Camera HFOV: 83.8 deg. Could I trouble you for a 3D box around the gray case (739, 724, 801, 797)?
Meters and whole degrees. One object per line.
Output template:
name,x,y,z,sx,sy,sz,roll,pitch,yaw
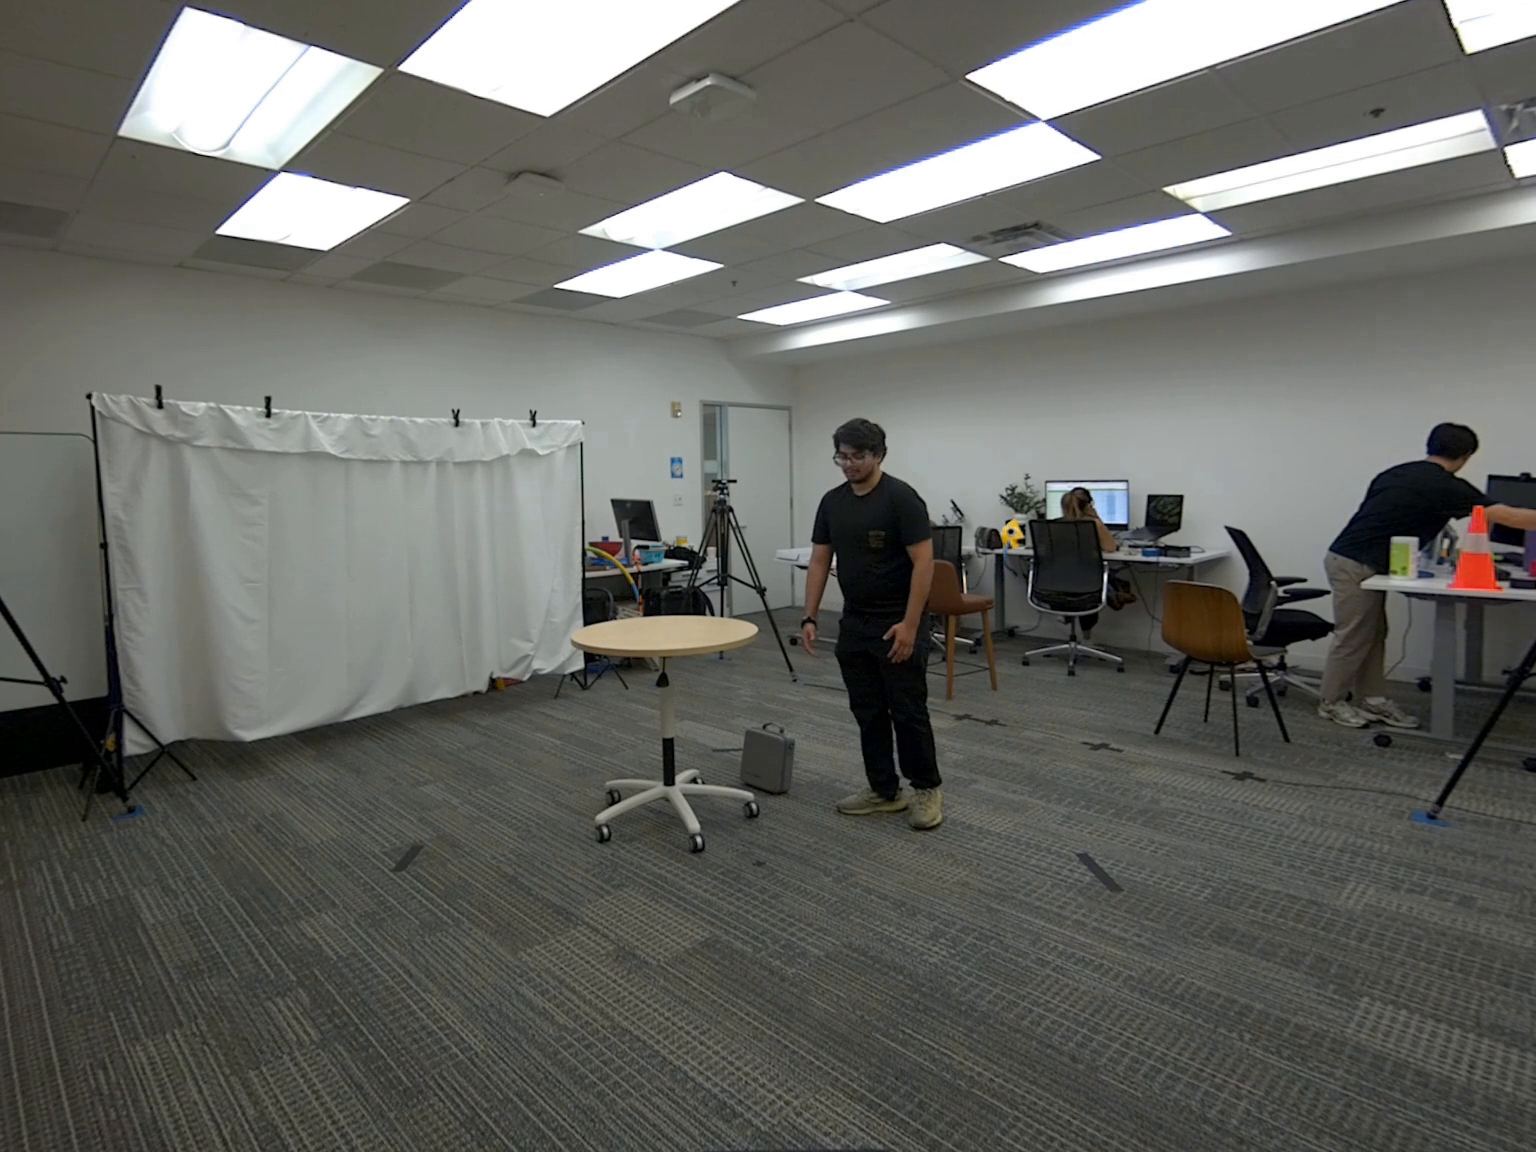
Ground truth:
gray case,0.004,0.829,3.888,0.101,0.261,0.264,10,-5,-41
